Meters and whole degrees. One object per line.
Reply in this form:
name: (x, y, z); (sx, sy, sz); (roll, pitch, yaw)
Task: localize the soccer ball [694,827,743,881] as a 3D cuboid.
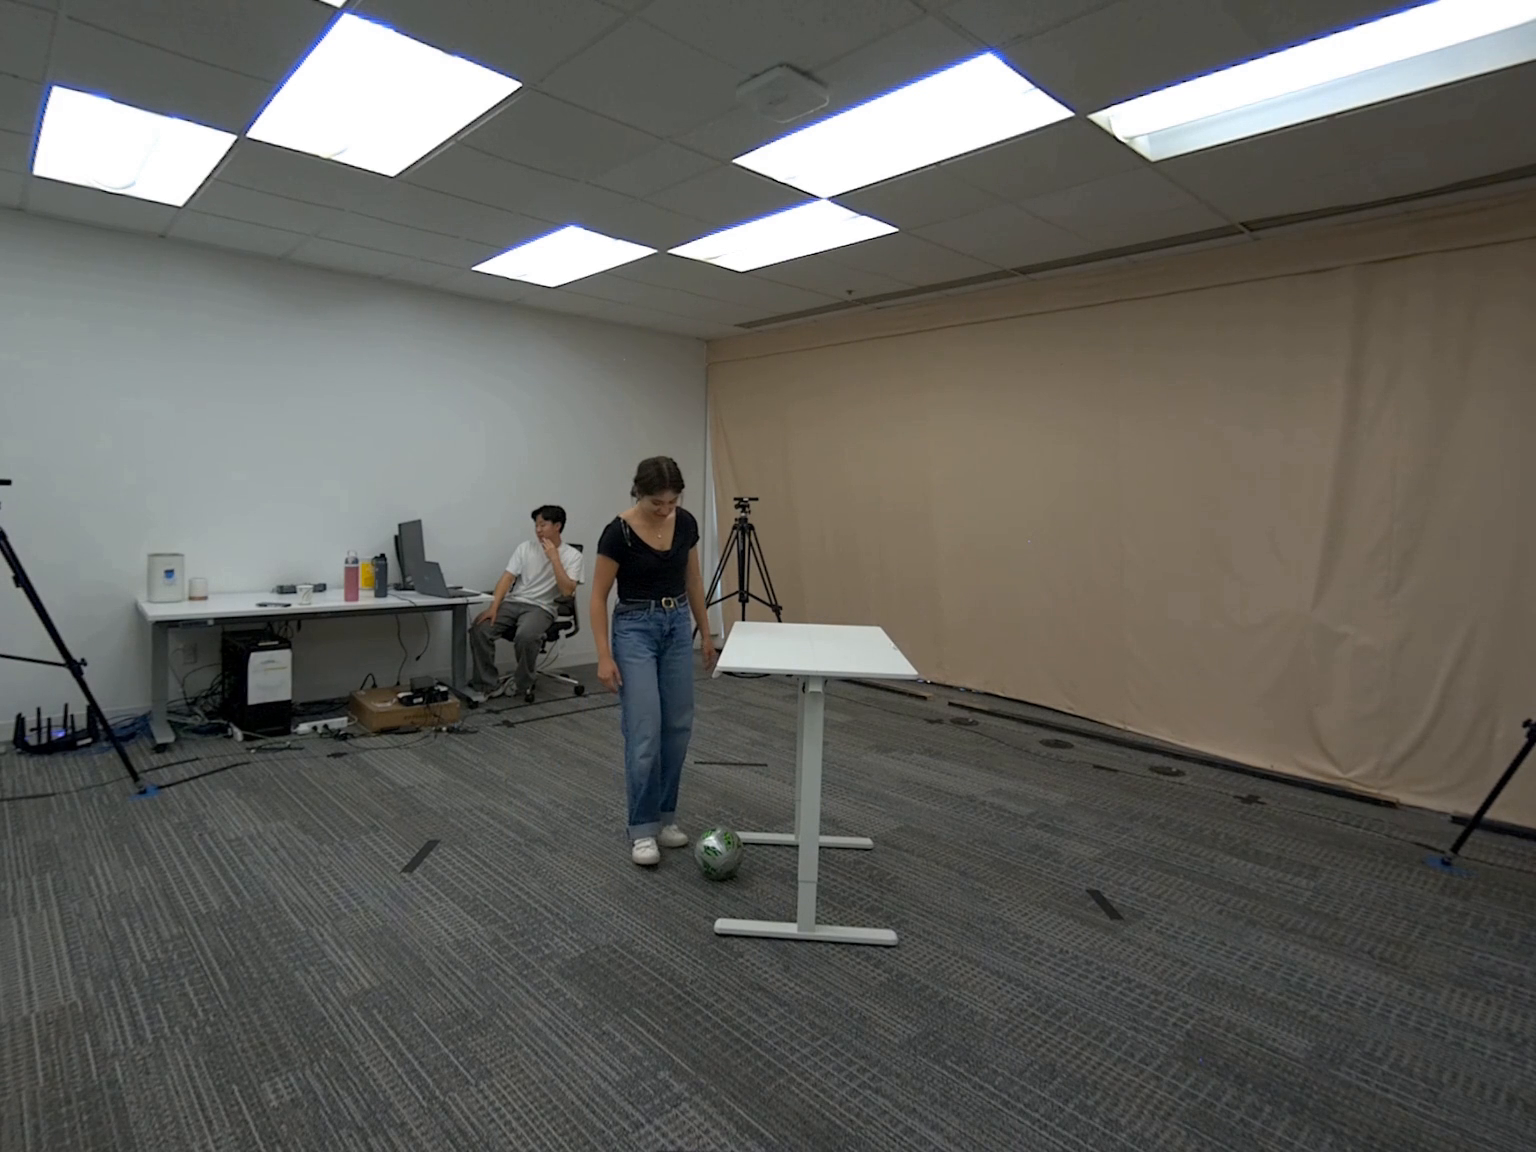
soccer ball: (-0.186, 1.019, 3.082); (0.187, 0.187, 0.188); (1, 4, -1)
